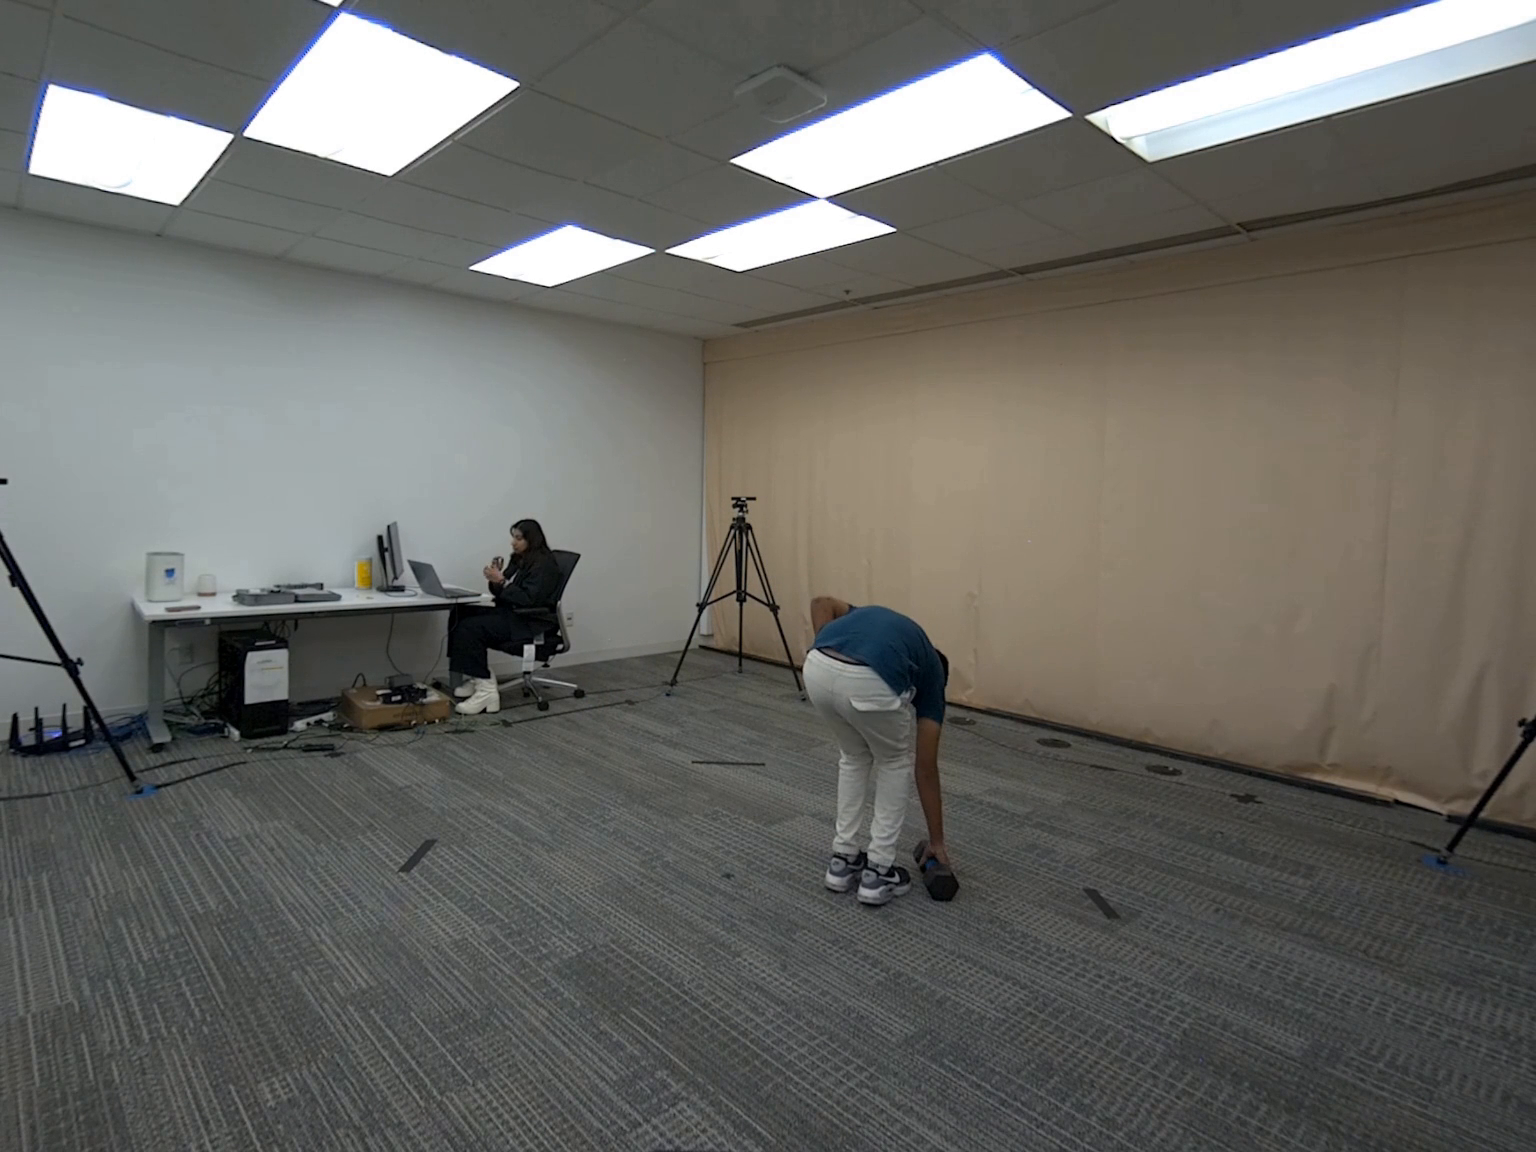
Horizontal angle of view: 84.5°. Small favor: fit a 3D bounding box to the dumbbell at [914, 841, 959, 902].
[{"bbox_3d":[0.604,1.072,3.081,0.108,0.123,0.294,31,4,-3],"label":"dumbbell"}]
